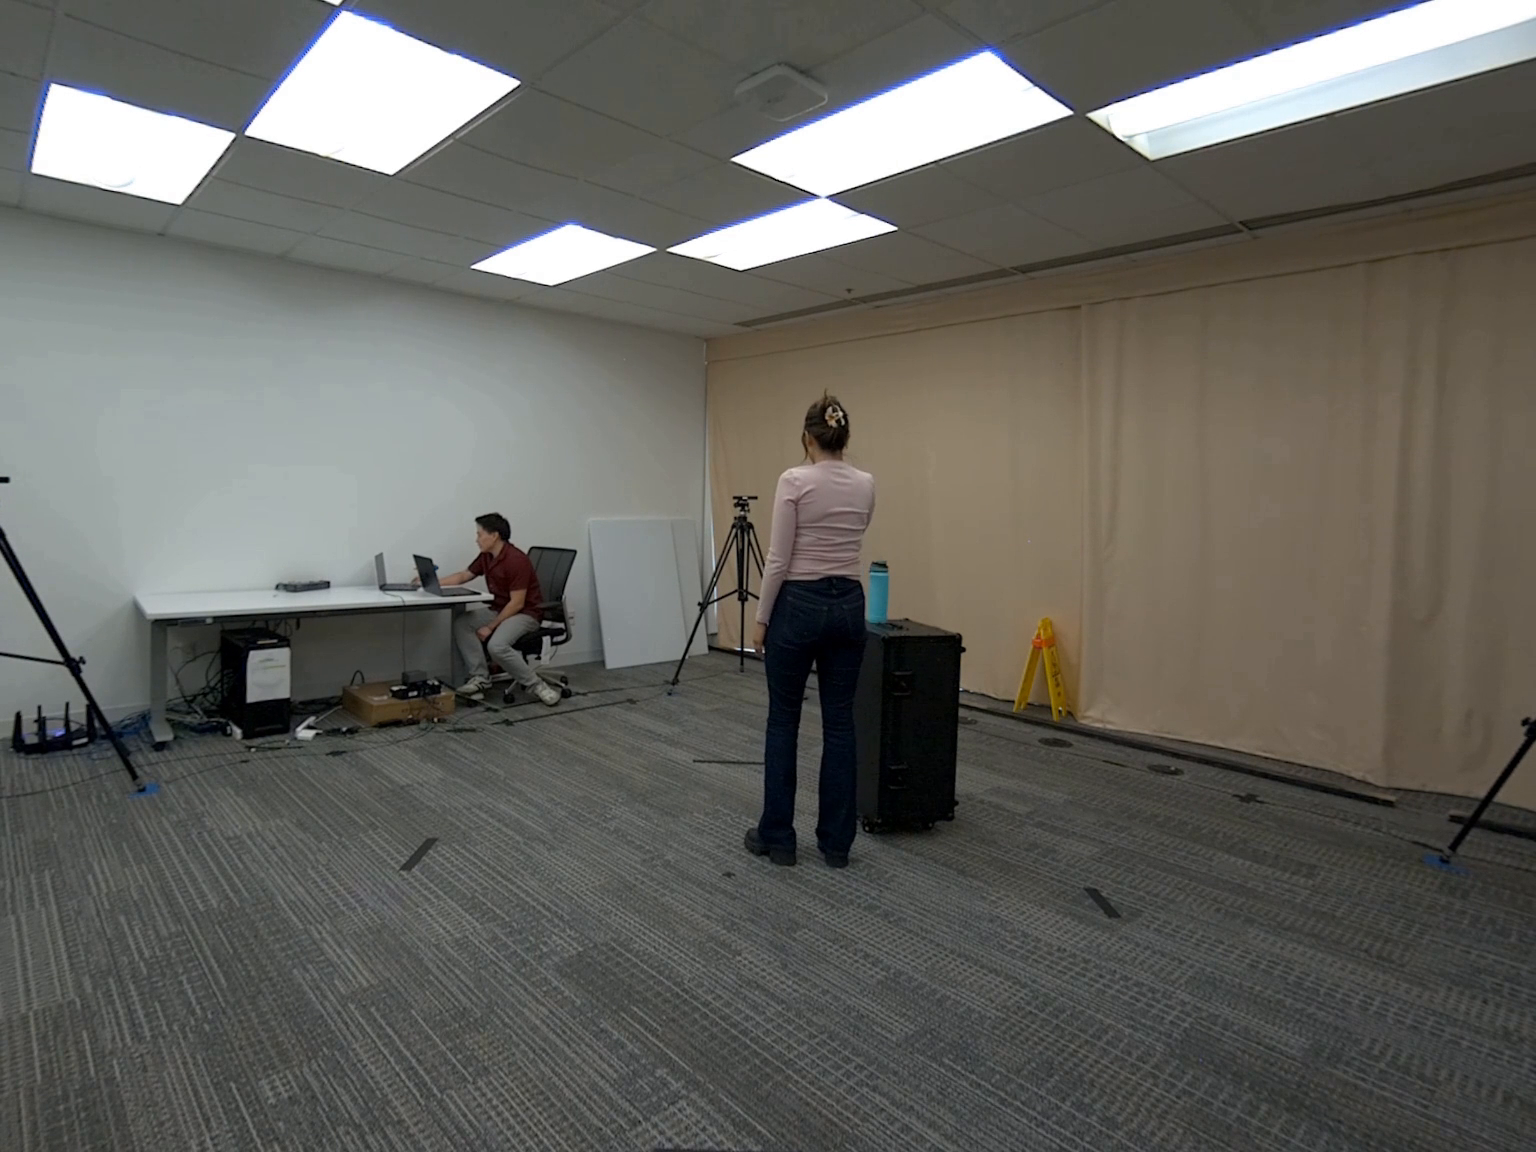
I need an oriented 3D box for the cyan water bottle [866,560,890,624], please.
[{"bbox_3d":[0.494,0.068,3.814,0.092,0.283,0.092,3,2,-2],"label":"cyan water bottle"}]
